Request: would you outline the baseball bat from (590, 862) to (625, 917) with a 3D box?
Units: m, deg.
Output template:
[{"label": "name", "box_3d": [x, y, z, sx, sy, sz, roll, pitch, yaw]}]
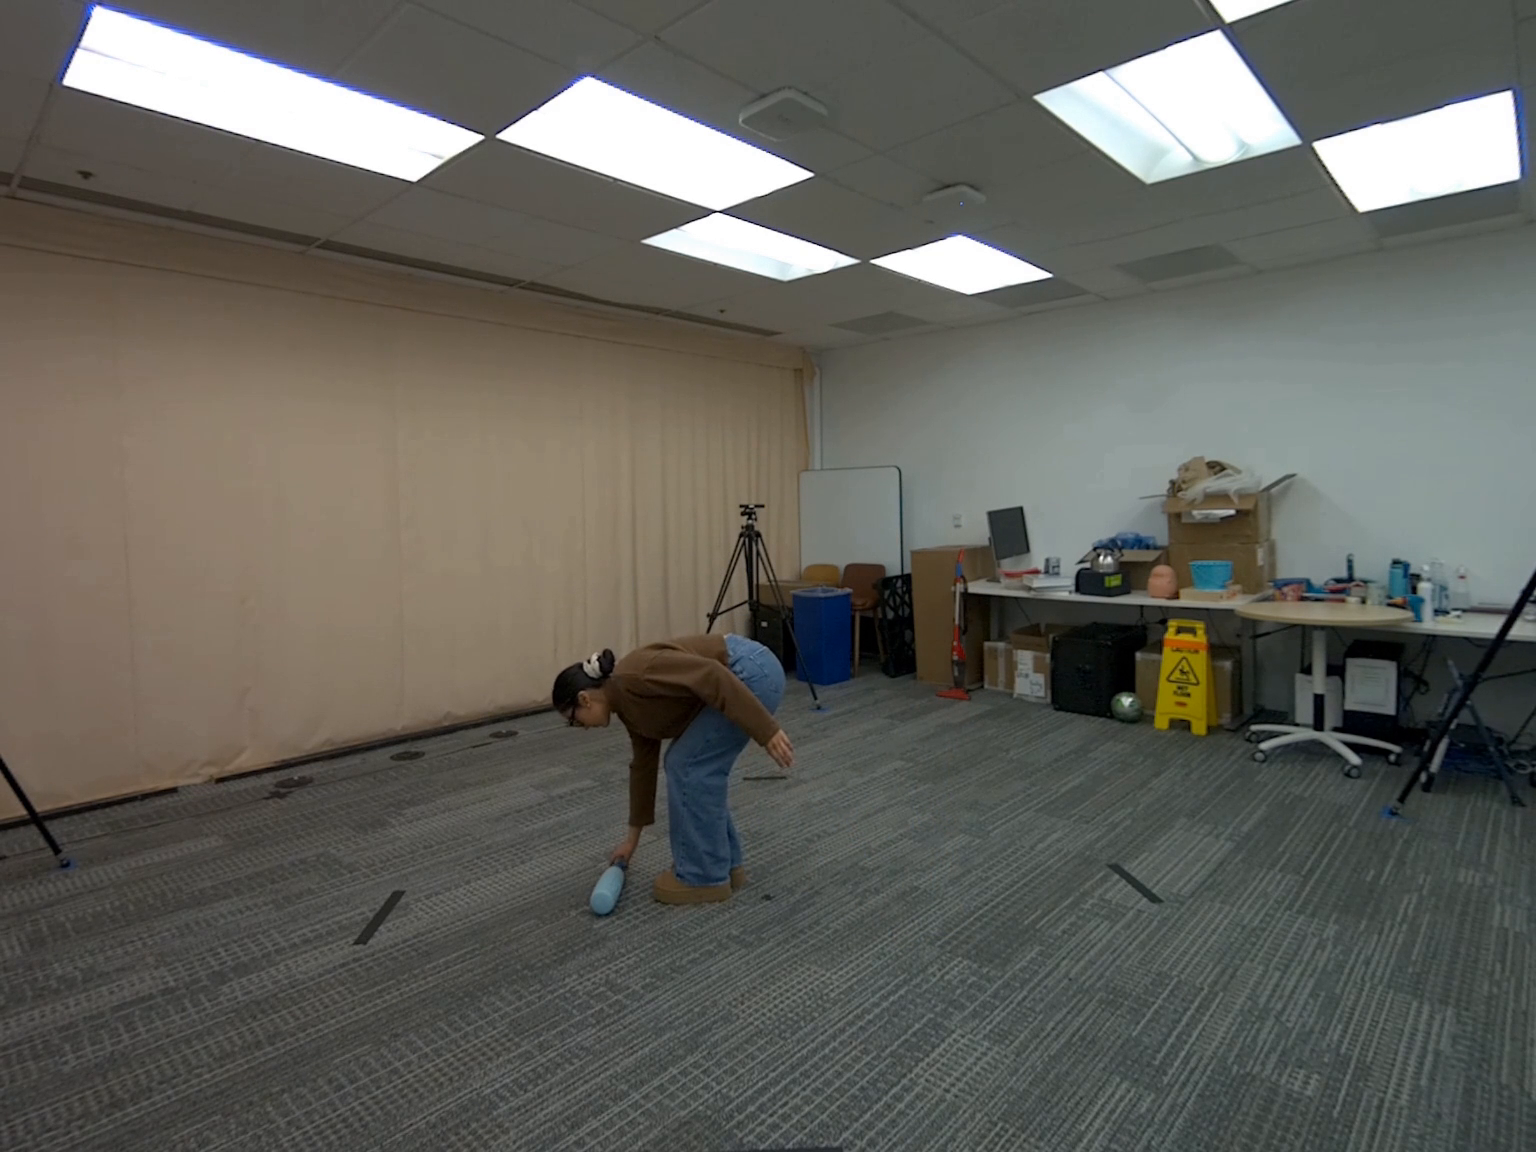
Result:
[{"label": "baseball bat", "box_3d": [-0.562, 1.103, 3.124, 0.089, 0.089, 0.542, -1, 1, -1]}]
